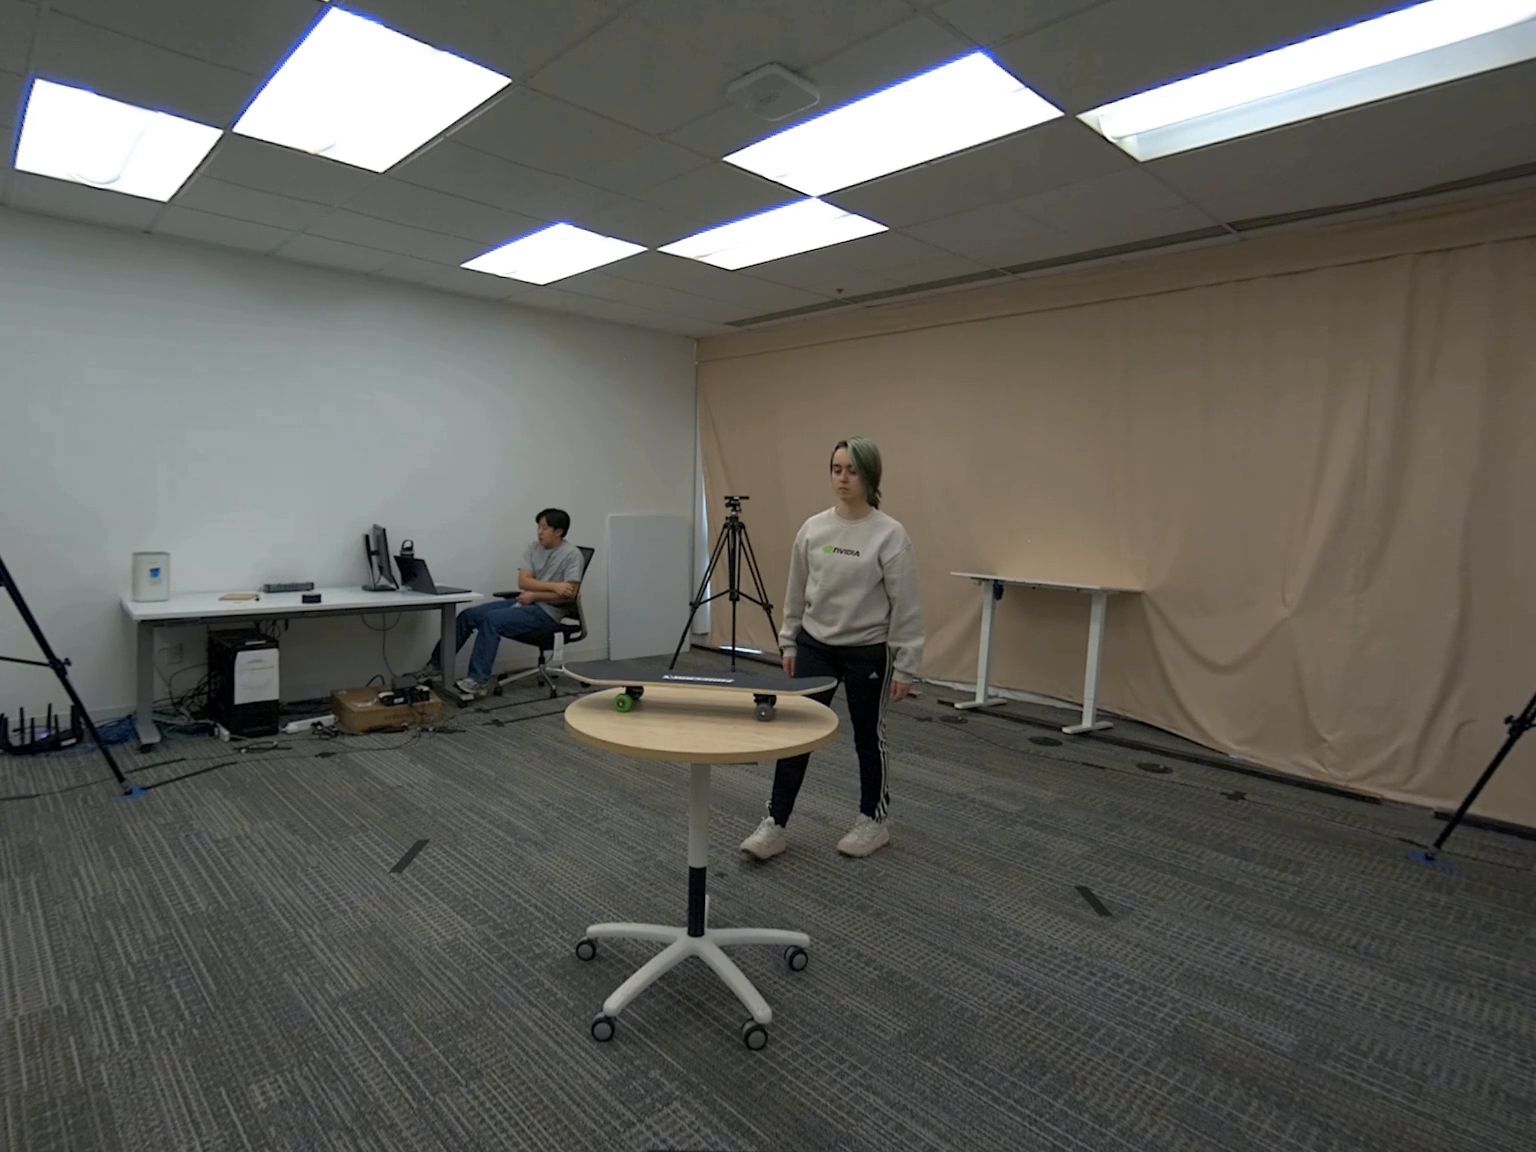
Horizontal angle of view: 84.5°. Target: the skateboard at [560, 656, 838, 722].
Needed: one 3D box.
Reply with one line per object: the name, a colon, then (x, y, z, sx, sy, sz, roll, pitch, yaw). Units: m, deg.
skateboard: (-0.201, 0.341, 2.386, 0.790, 0.110, 0.193, 3, 5, 7)
